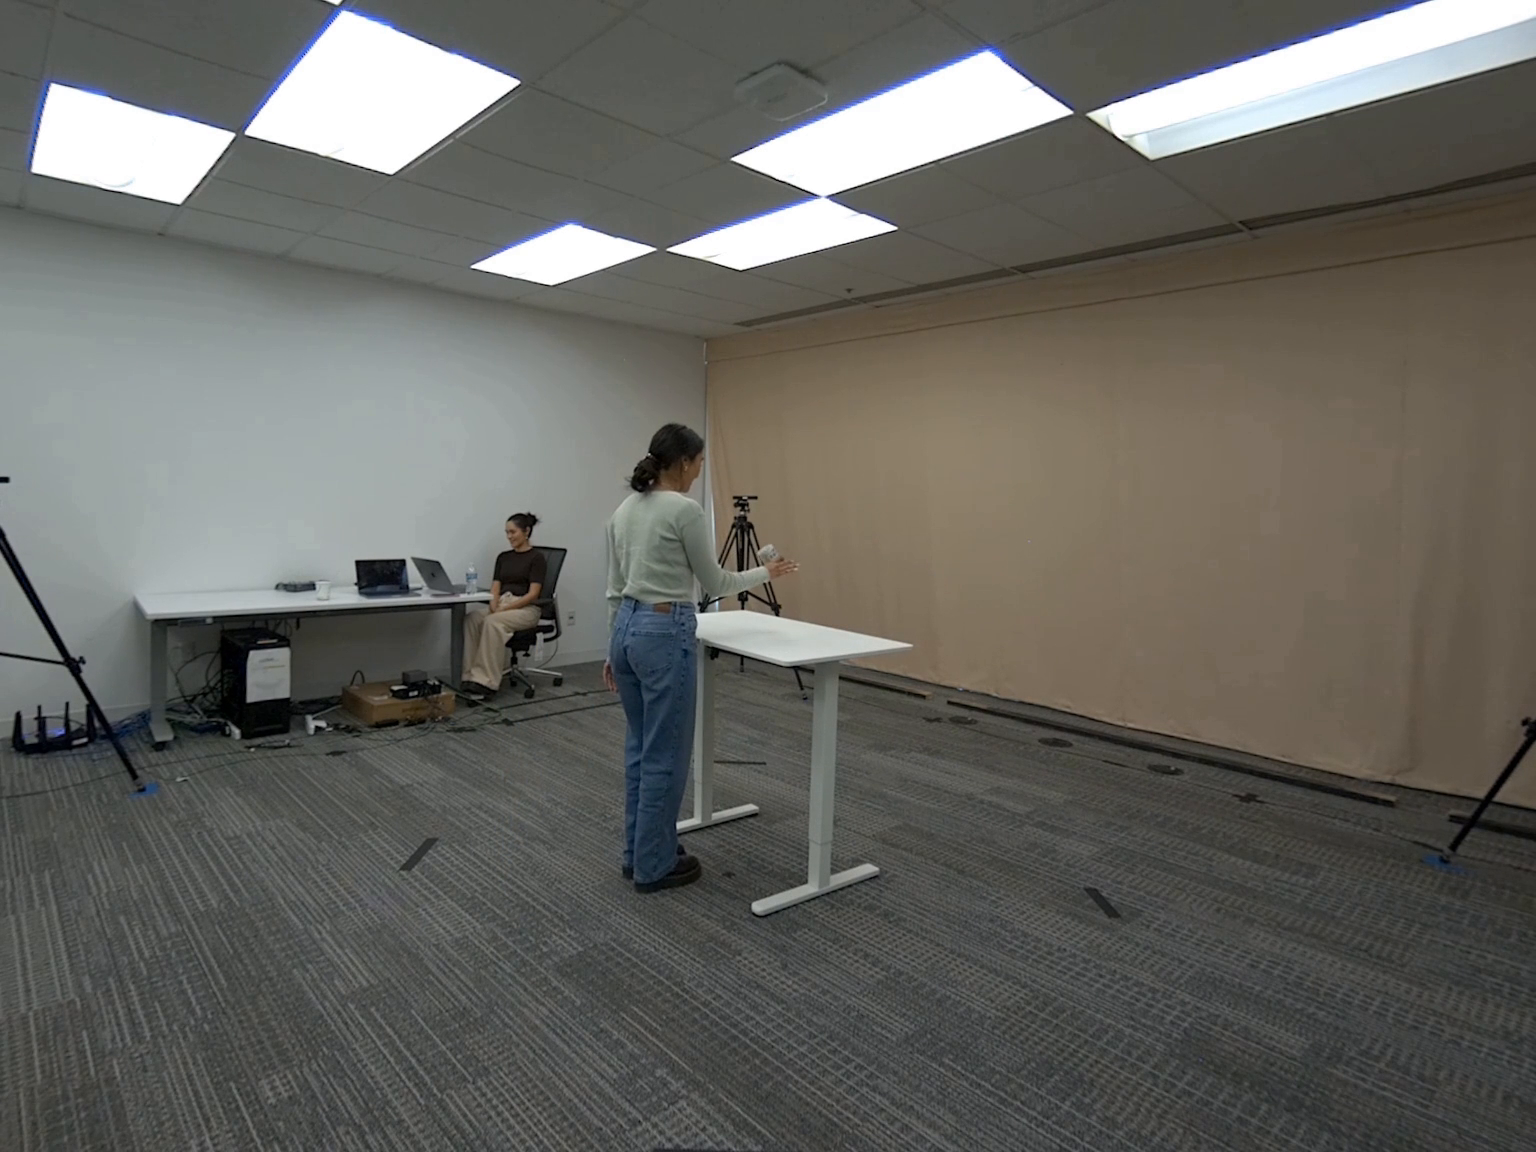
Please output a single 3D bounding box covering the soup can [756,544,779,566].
[{"bbox_3d":[0.011,-0.053,3.226,0.067,0.120,0.067,-24,8,3],"label":"soup can"}]
